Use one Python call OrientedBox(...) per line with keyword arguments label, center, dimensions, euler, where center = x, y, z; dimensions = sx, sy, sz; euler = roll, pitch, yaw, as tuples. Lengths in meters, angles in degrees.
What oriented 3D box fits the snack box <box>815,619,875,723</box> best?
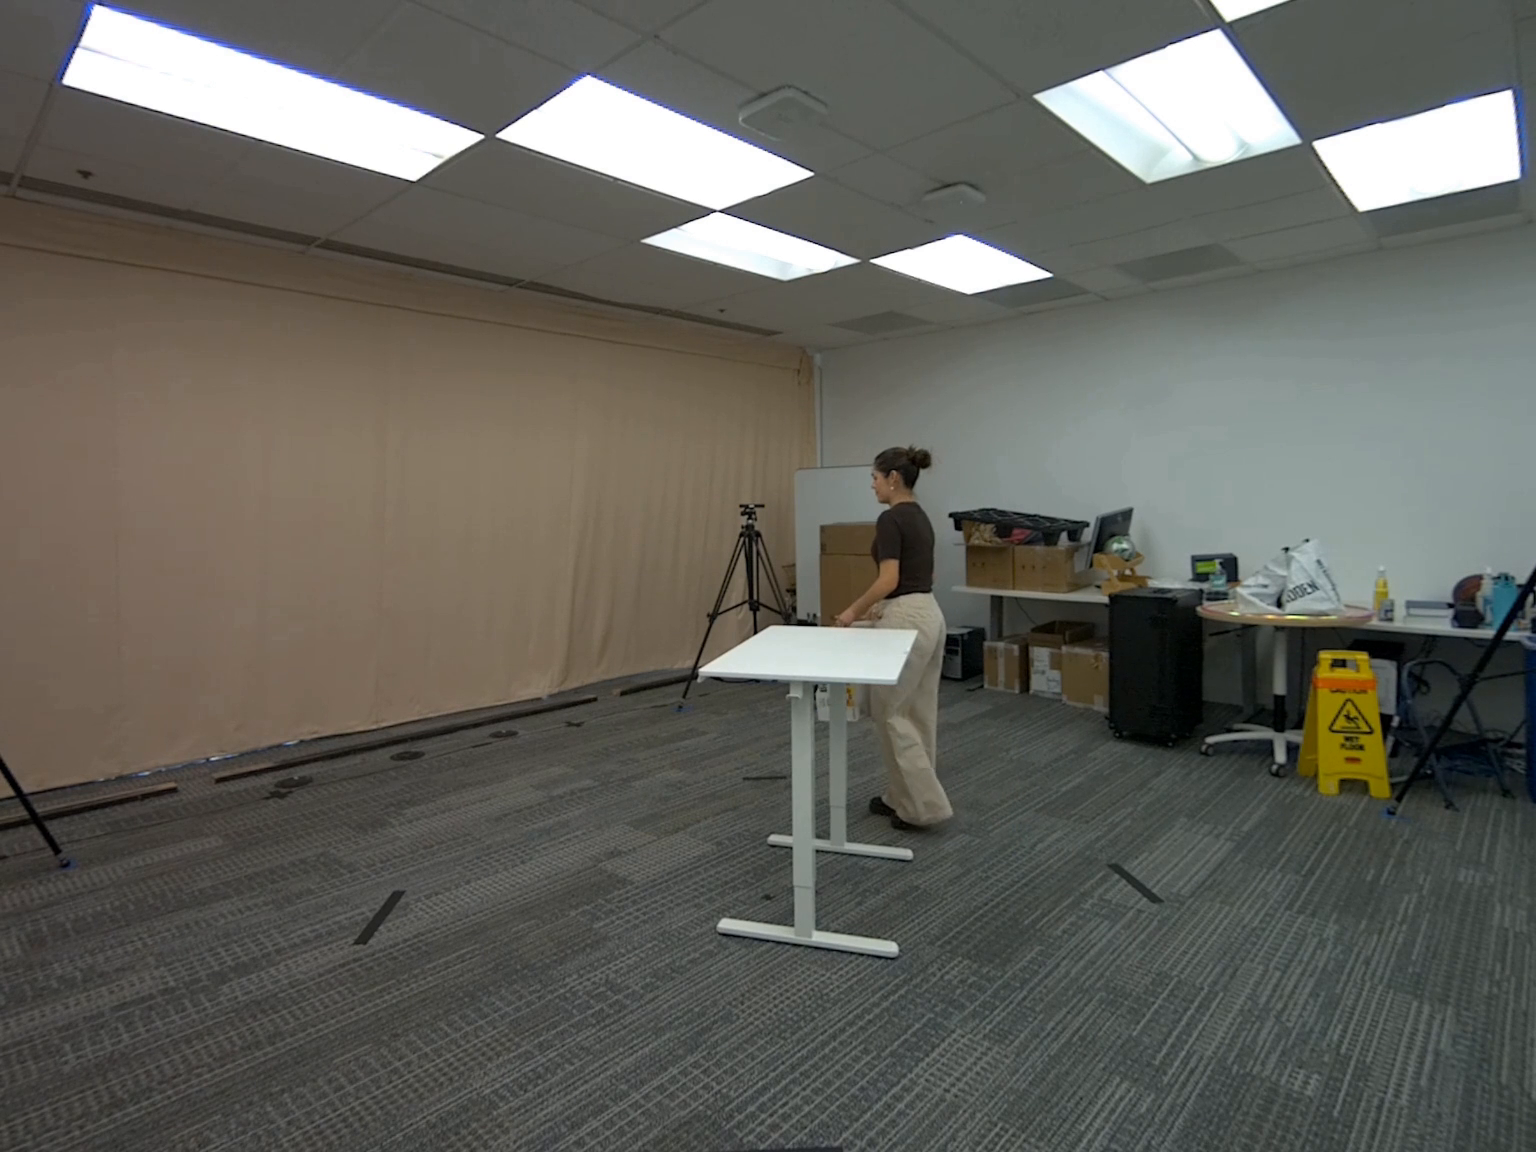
OrientedBox(label="snack box", center=(0.384, 0.429, 3.846), dimensions=(0.211, 0.406, 0.330), euler=(-8, -3, 35))
